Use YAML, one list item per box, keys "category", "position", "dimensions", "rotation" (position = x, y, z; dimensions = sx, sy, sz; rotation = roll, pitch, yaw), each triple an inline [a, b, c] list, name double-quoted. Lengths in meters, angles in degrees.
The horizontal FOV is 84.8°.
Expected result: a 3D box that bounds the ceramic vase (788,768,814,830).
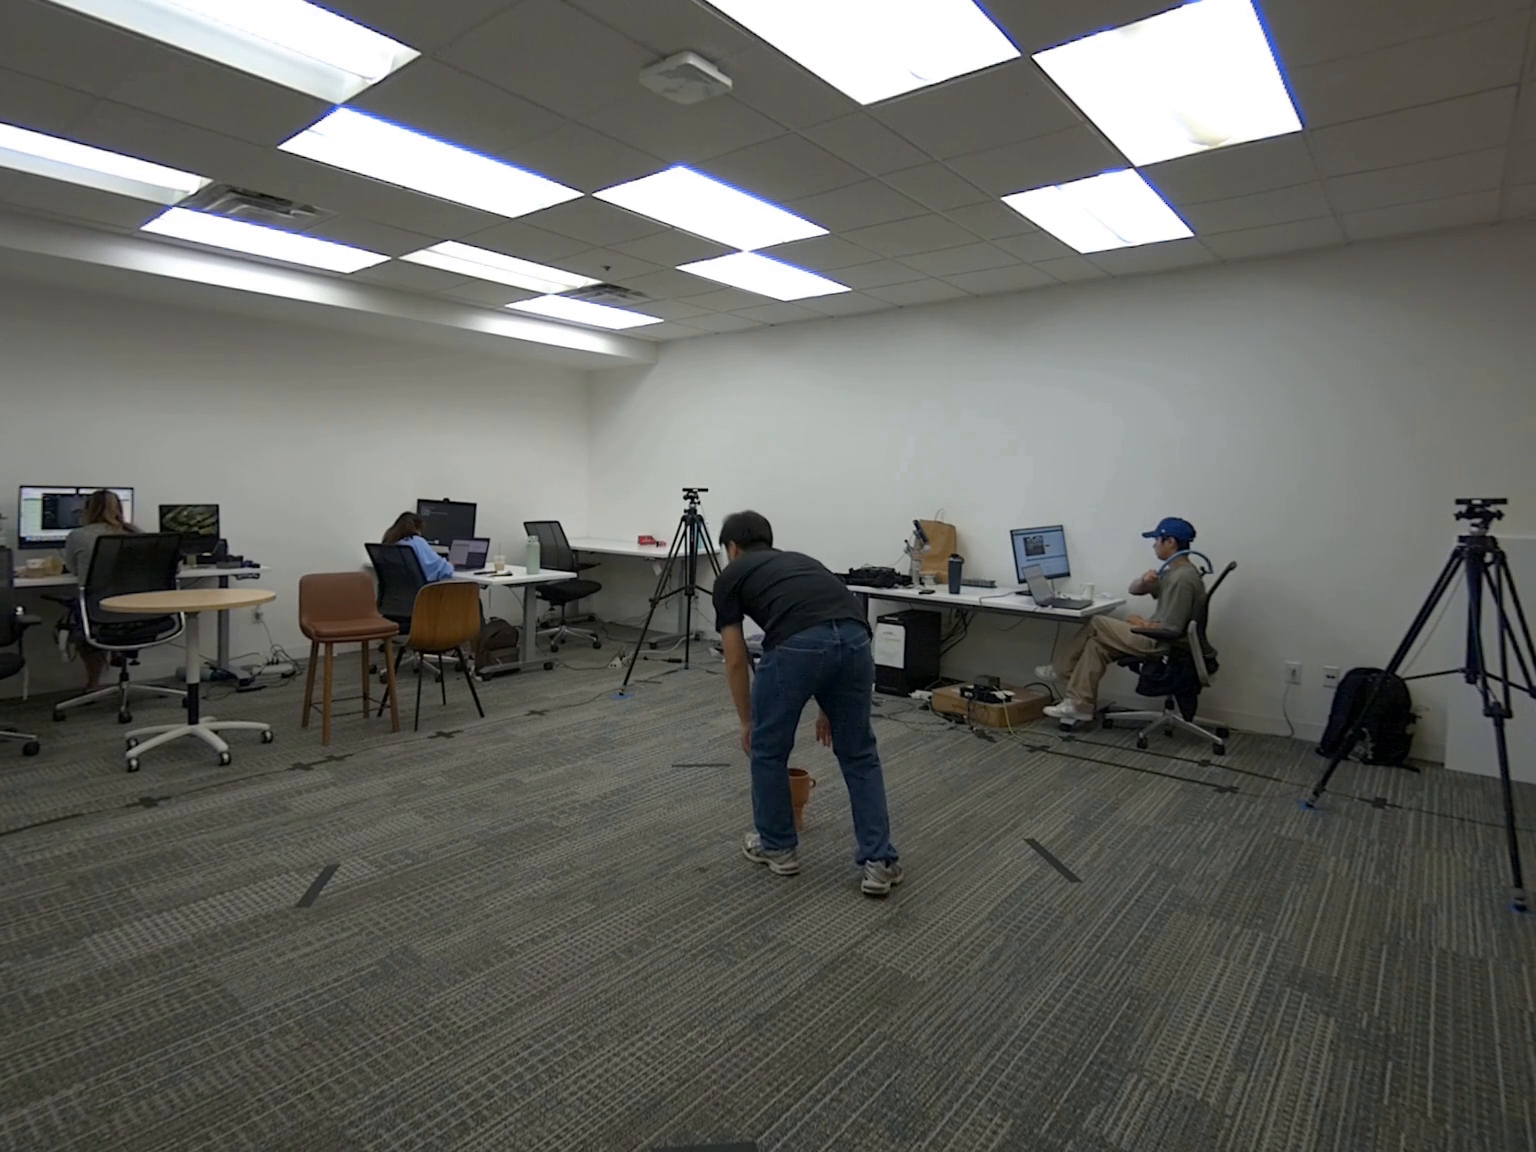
- category: "ceramic vase"
  position: [0.101, 0.921, 3.552]
  dimensions: [0.138, 0.219, 0.155]
  rotation: [3, 5, 23]
